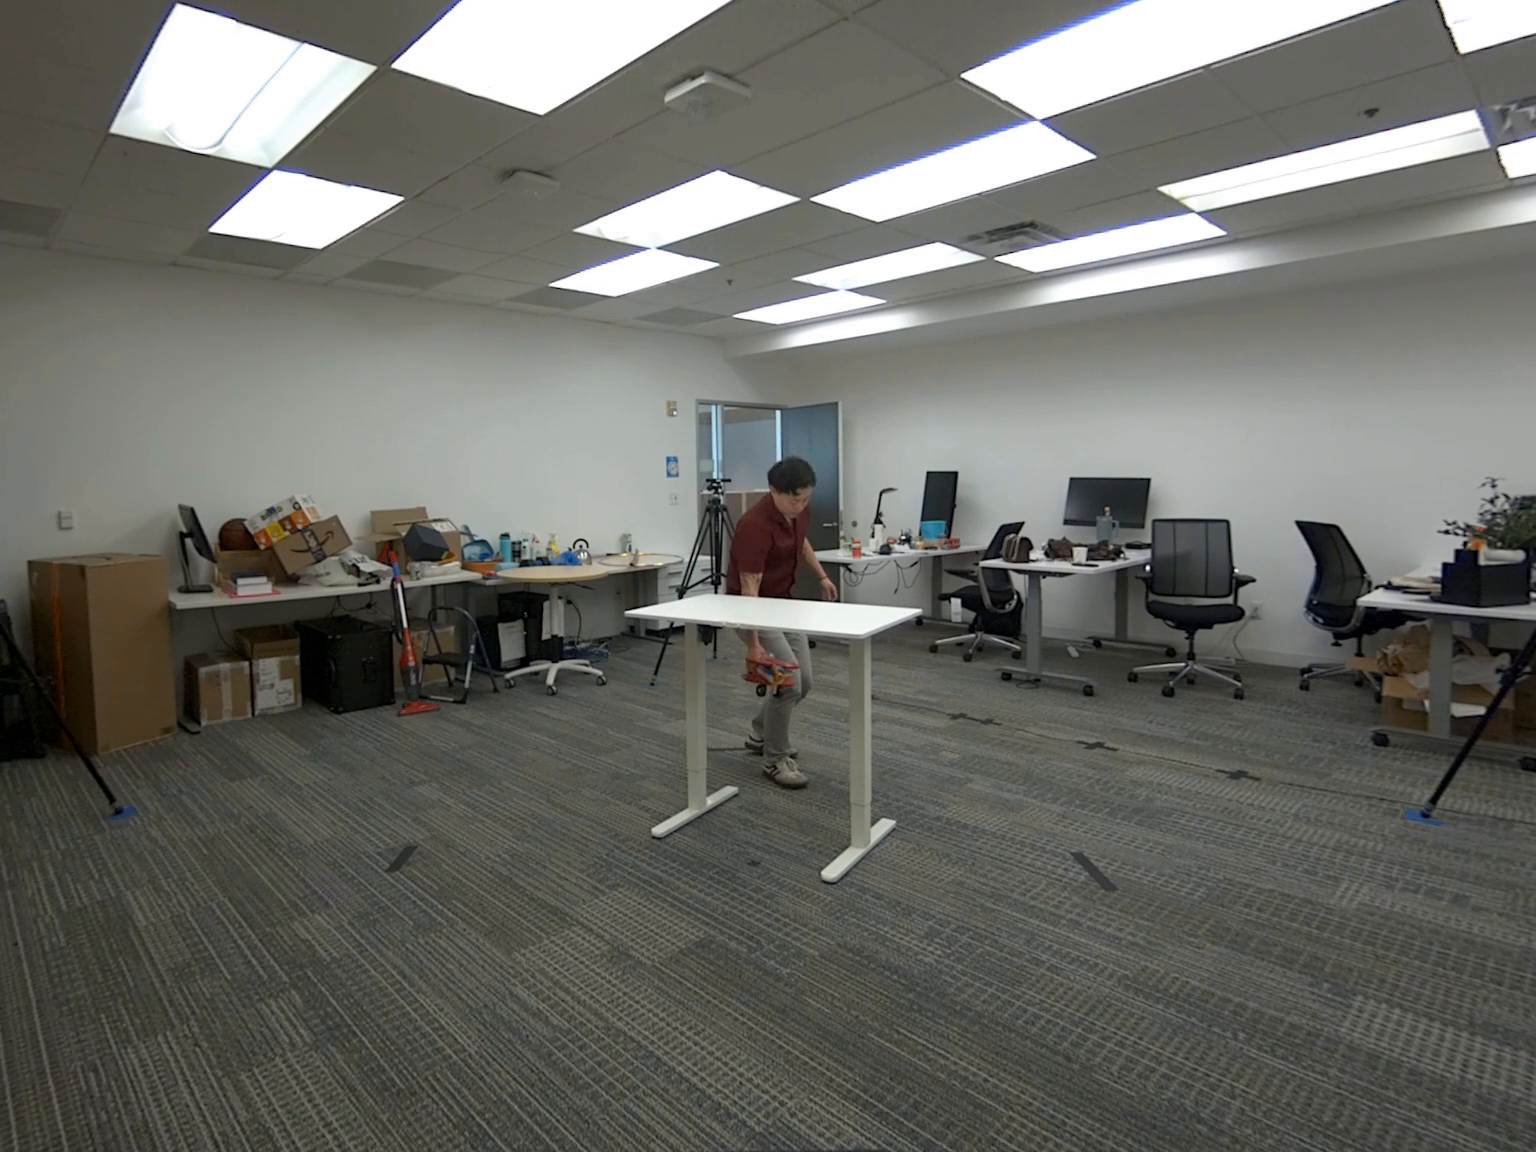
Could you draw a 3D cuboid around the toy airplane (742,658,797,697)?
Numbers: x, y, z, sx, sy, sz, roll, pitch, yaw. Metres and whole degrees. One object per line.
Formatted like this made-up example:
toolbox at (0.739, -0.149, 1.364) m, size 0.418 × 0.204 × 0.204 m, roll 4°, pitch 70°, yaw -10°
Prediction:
toy airplane at (-0.027, 0.424, 3.770) m, size 0.269 × 0.155 × 0.244 m, roll 30°, pitch 20°, yaw 34°
